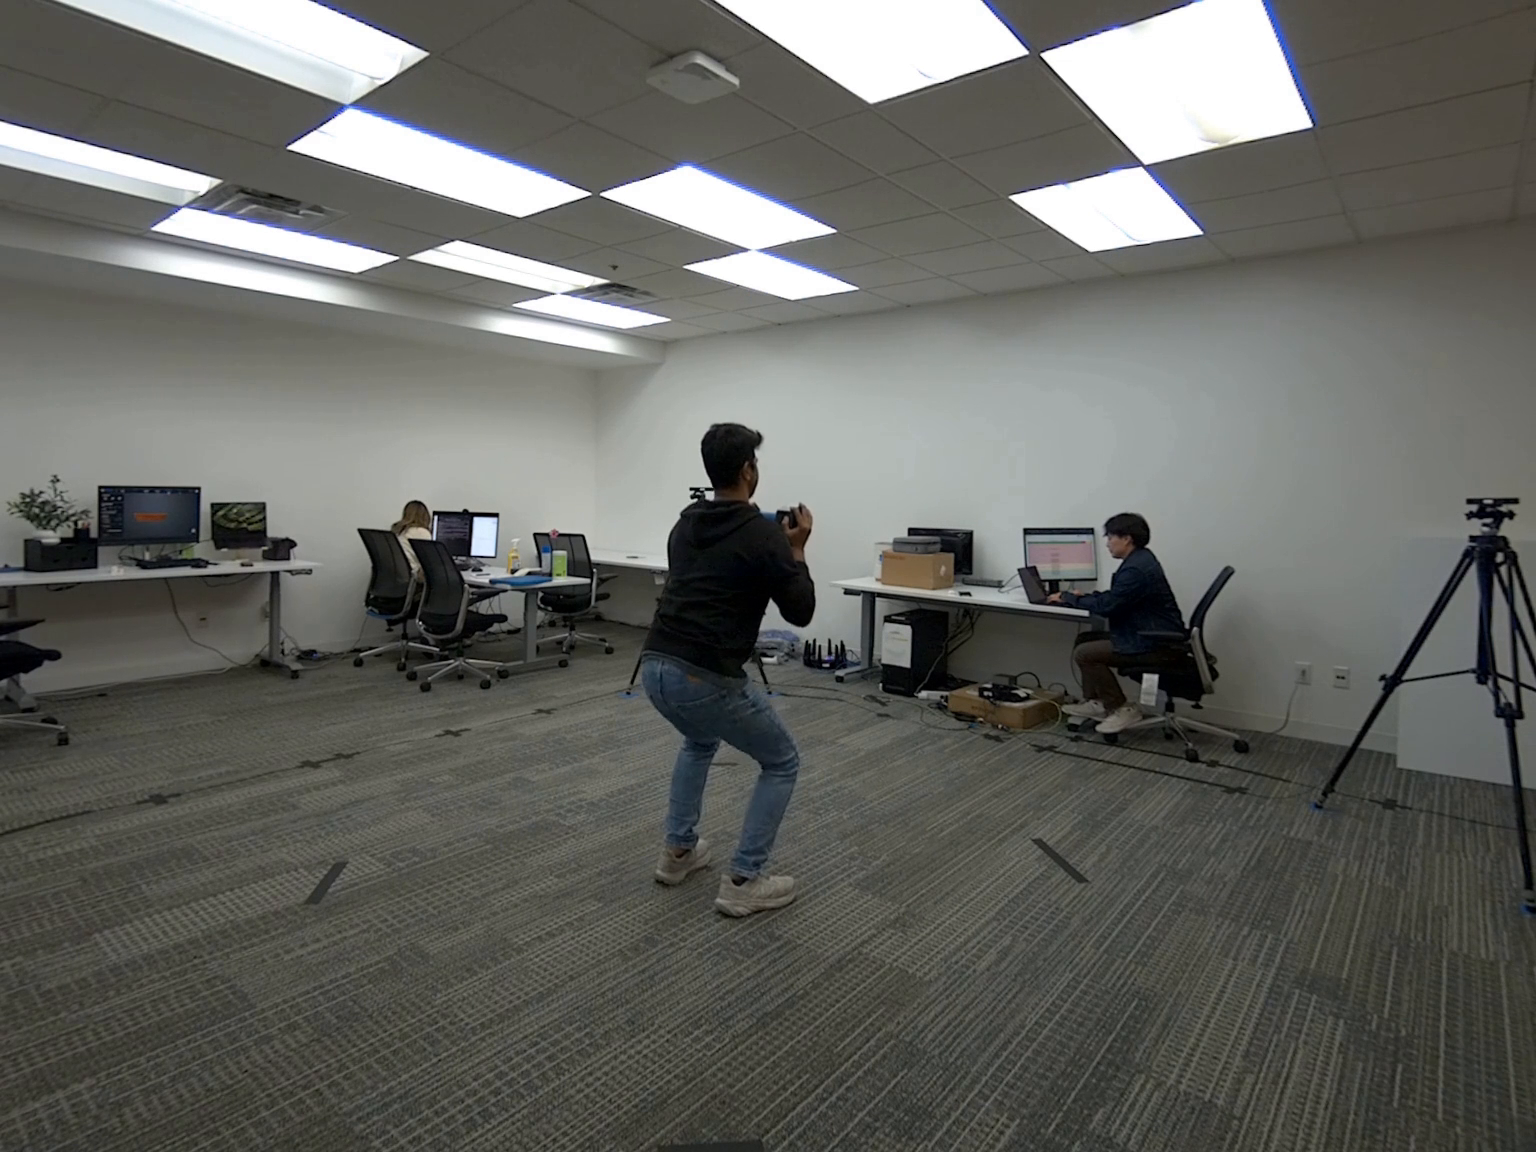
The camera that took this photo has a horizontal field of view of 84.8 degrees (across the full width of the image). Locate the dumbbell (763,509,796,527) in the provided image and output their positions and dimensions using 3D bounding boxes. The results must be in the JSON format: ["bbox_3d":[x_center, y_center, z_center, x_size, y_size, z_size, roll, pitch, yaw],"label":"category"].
[{"bbox_3d":[-0.017,-0.201,3.084,0.303,0.123,0.105,6,-2,42],"label":"dumbbell"}]
